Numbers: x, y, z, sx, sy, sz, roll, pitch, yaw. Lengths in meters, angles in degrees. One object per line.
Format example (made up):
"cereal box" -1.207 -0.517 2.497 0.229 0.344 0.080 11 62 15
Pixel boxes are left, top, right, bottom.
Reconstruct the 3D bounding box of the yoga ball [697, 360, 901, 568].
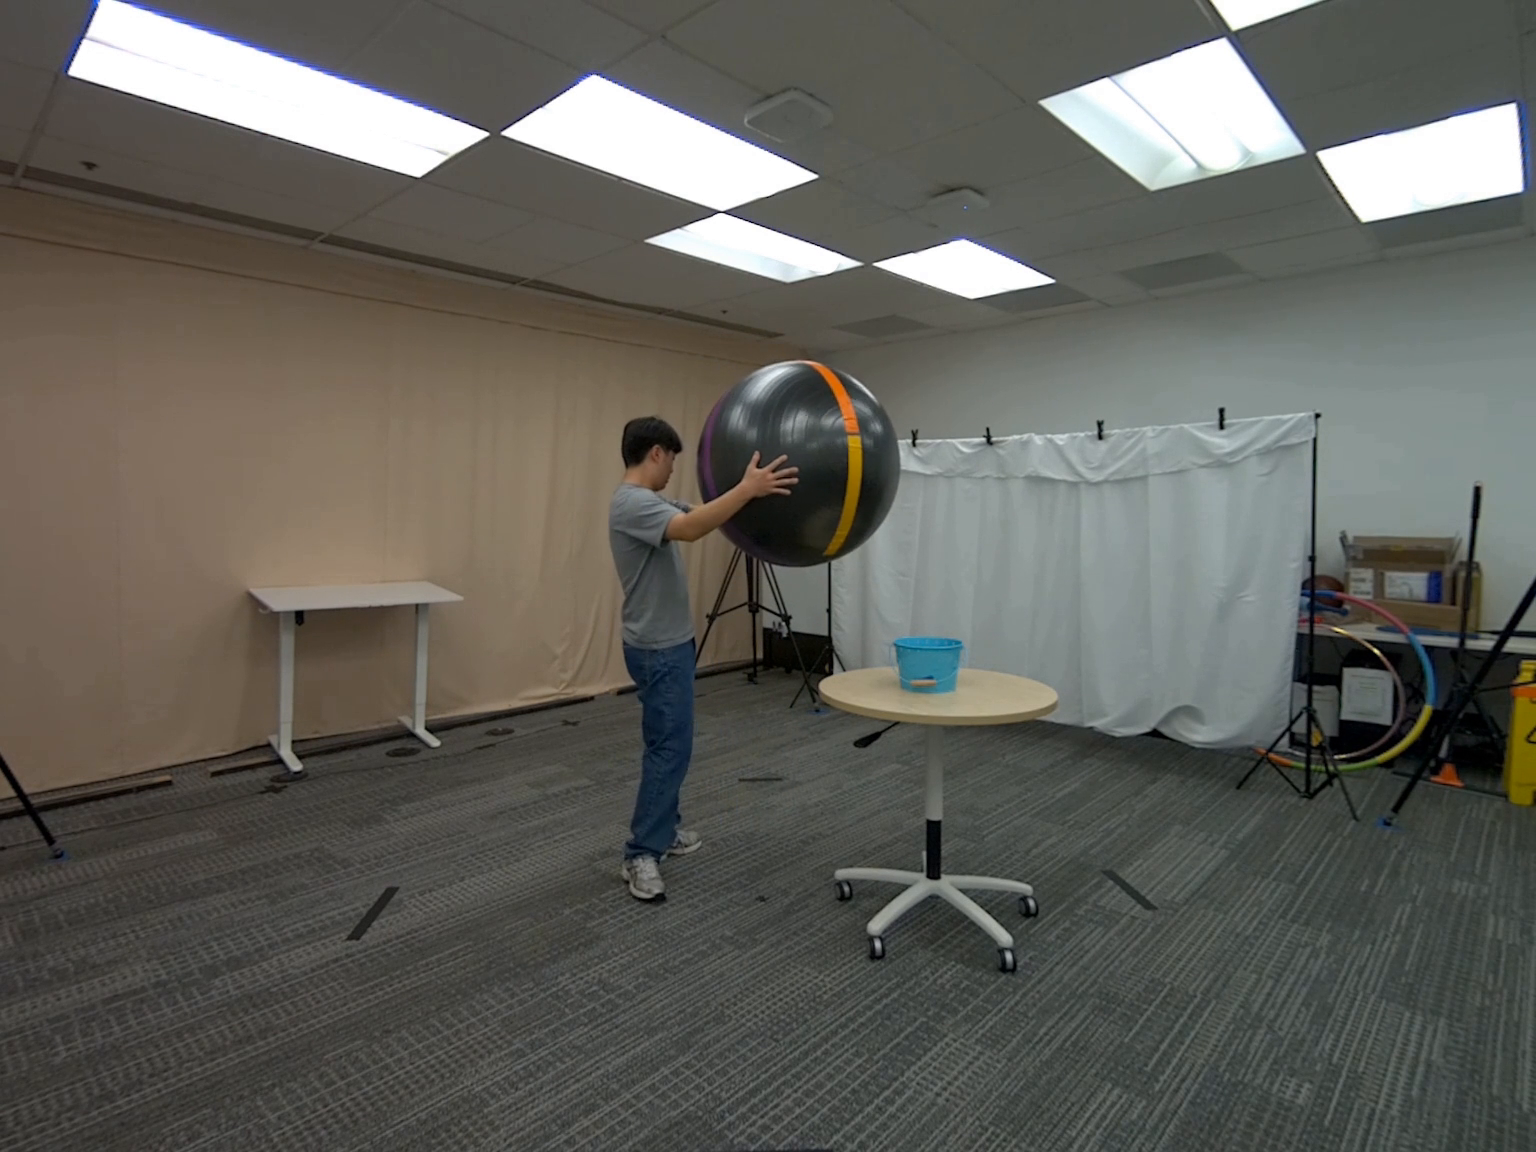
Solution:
"yoga ball" 0.106 -0.405 3.143 0.757 0.756 0.760 0 4 -2
